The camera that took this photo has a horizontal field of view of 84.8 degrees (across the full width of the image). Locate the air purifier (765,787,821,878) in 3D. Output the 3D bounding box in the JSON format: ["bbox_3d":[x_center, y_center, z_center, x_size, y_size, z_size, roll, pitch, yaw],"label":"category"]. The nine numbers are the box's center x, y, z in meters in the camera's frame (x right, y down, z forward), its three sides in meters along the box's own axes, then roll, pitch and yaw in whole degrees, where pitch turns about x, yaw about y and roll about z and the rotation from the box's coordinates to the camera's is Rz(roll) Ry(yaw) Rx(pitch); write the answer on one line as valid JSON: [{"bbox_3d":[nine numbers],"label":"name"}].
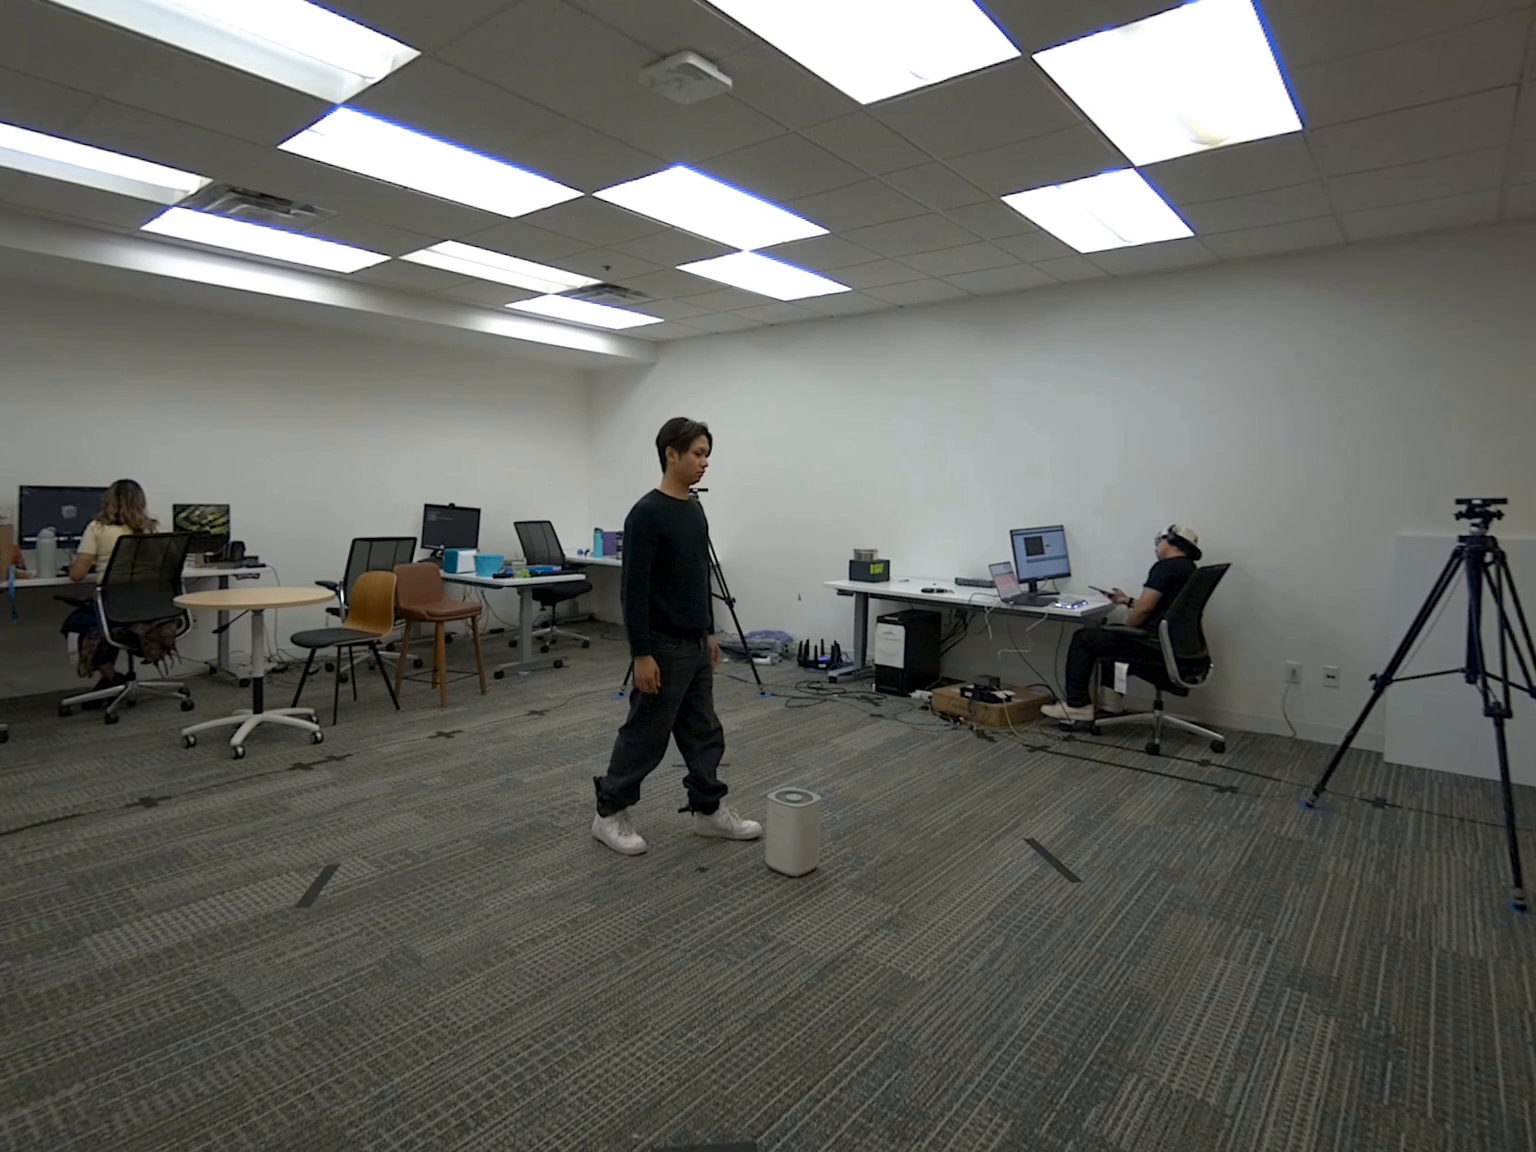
[{"bbox_3d":[0.084,0.939,3.140,0.177,0.264,0.166,4,5,41],"label":"air purifier"}]
